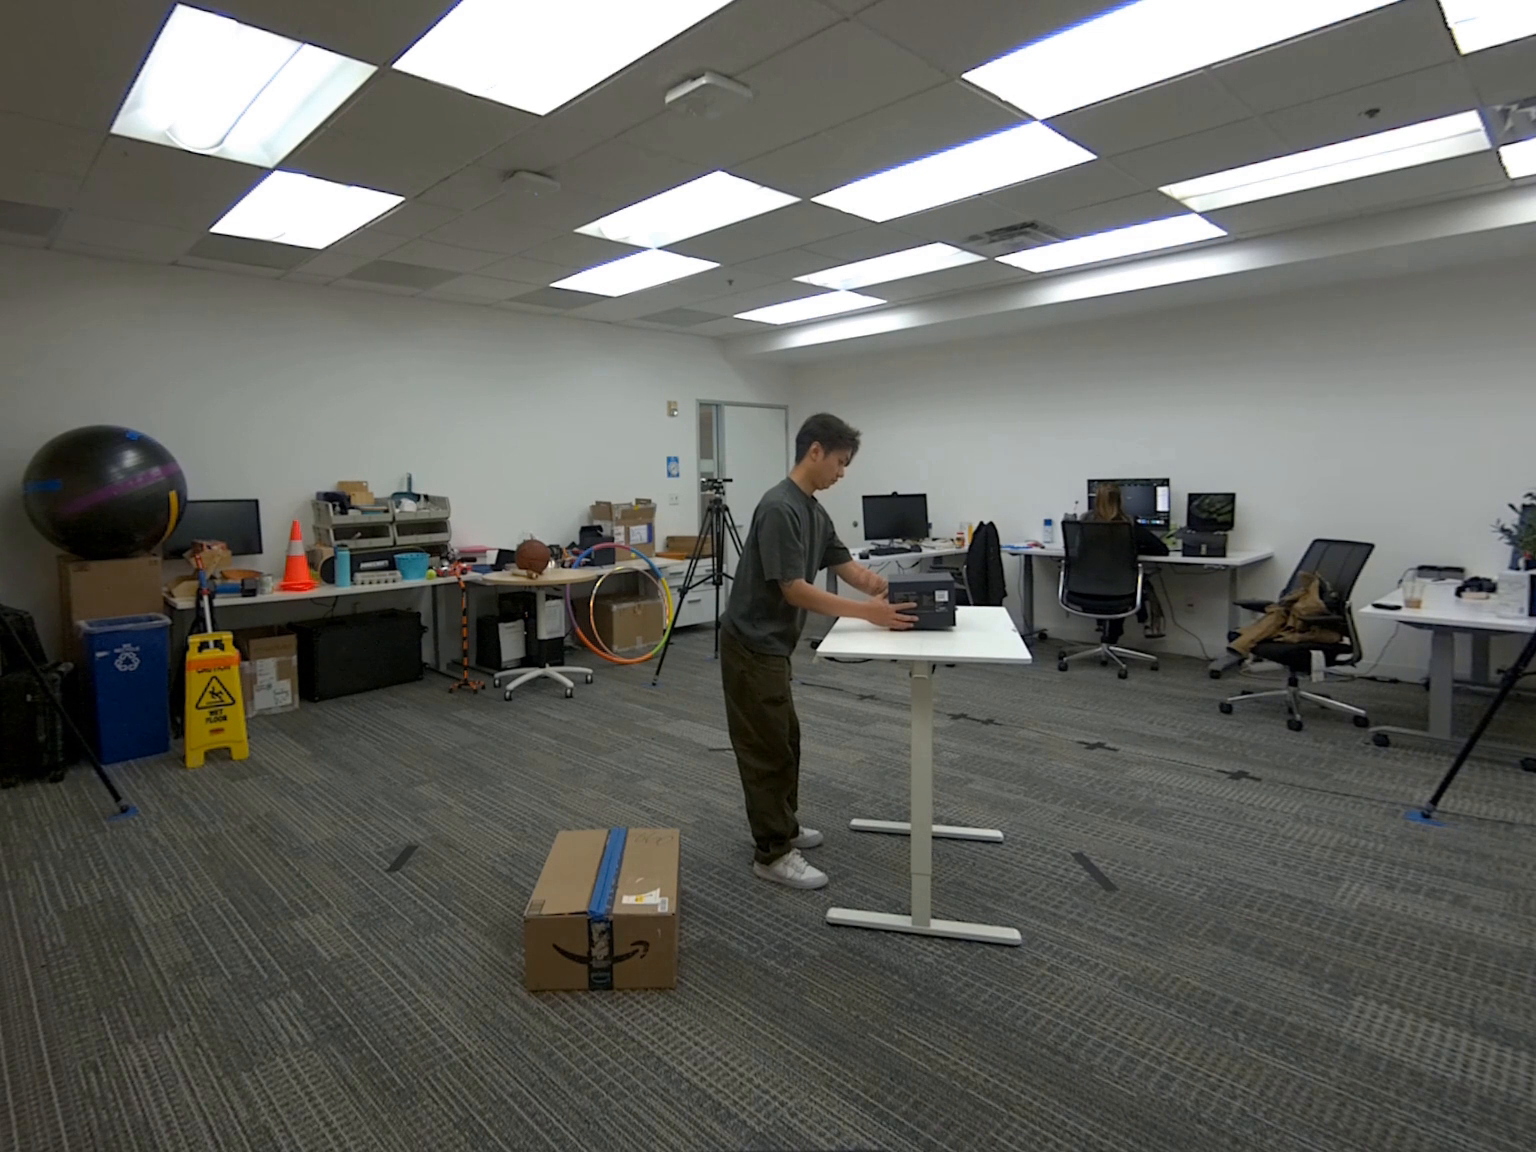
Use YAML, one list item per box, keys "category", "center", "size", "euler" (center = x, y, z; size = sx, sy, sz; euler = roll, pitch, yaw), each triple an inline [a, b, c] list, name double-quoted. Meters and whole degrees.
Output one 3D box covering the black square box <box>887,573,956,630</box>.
- category: "black square box"
  center: [0.530, 0.081, 2.904]
  size: [0.219, 0.155, 0.226]
  euler: [-2, 6, 12]
